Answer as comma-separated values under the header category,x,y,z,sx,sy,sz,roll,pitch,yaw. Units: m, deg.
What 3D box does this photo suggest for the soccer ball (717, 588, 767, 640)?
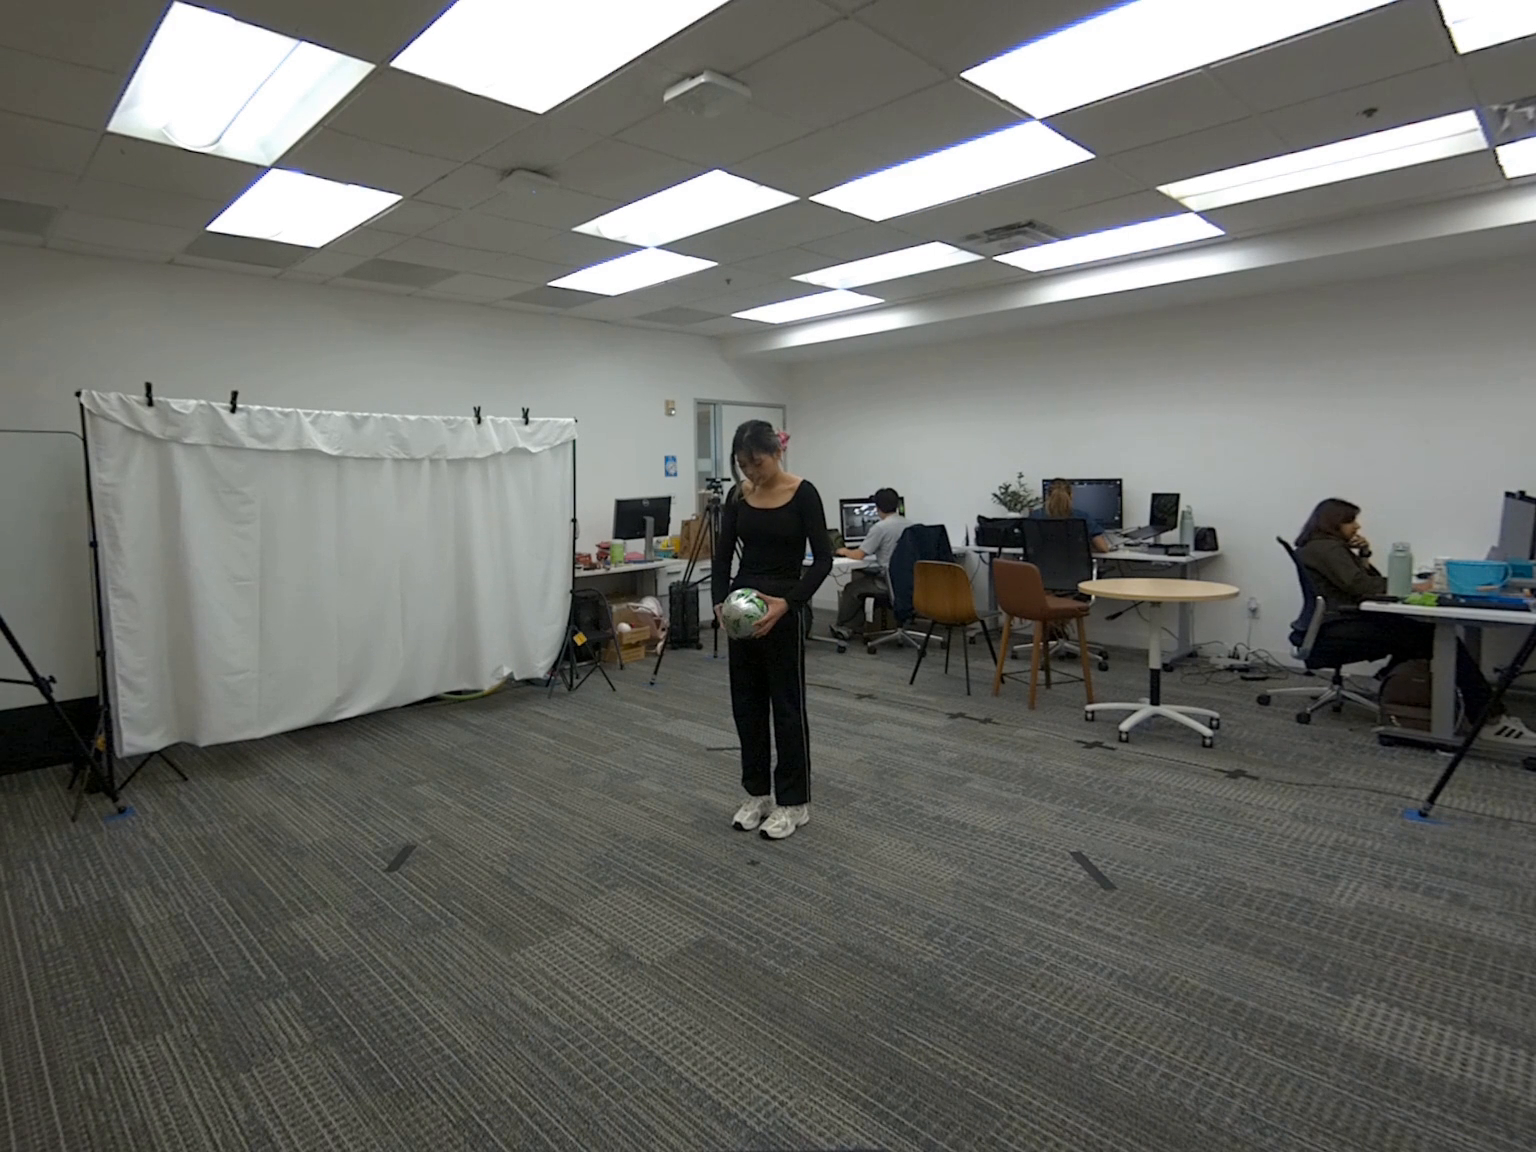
category,x,y,z,sx,sy,sz,roll,pitch,yaw
soccer ball,-0.086,0.142,3.173,0.187,0.187,0.188,-1,5,-2
